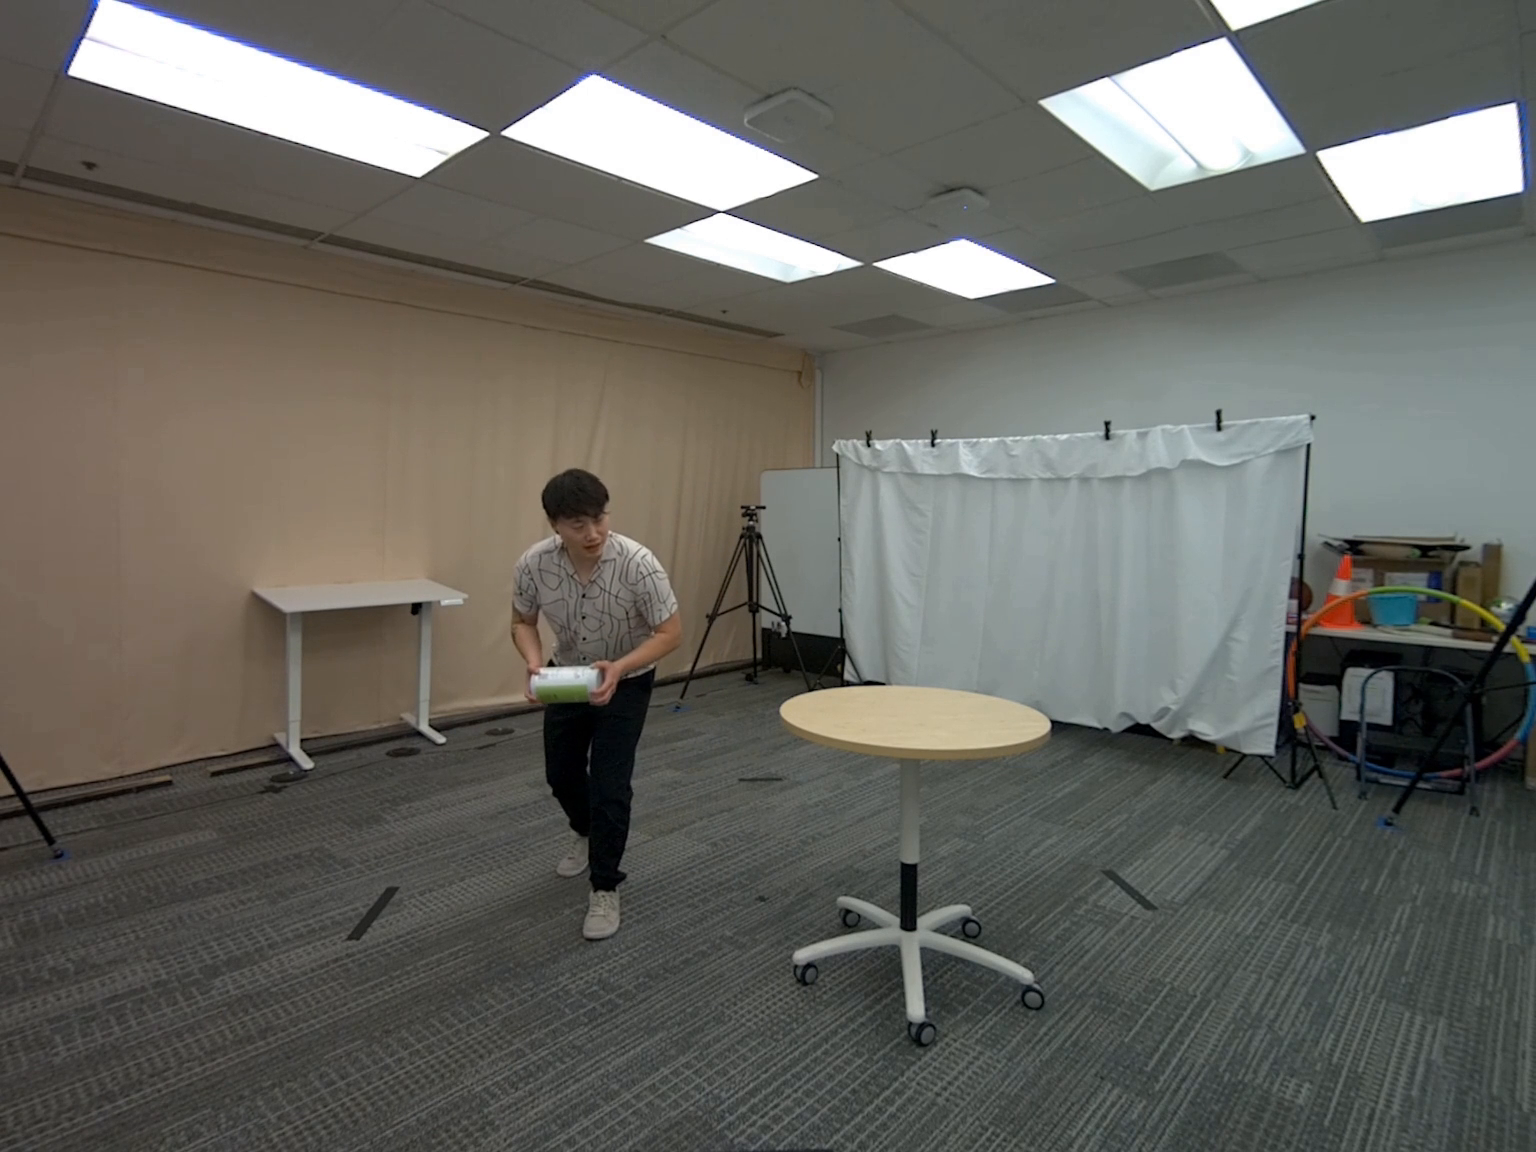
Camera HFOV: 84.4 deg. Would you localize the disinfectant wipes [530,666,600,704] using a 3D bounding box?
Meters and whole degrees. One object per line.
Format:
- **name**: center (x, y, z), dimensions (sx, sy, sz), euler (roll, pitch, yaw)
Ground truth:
- **disinfectant wipes**: center (-0.614, 0.337, 2.593), dimensions (0.220, 0.117, 0.116), euler (-4, 3, 12)
